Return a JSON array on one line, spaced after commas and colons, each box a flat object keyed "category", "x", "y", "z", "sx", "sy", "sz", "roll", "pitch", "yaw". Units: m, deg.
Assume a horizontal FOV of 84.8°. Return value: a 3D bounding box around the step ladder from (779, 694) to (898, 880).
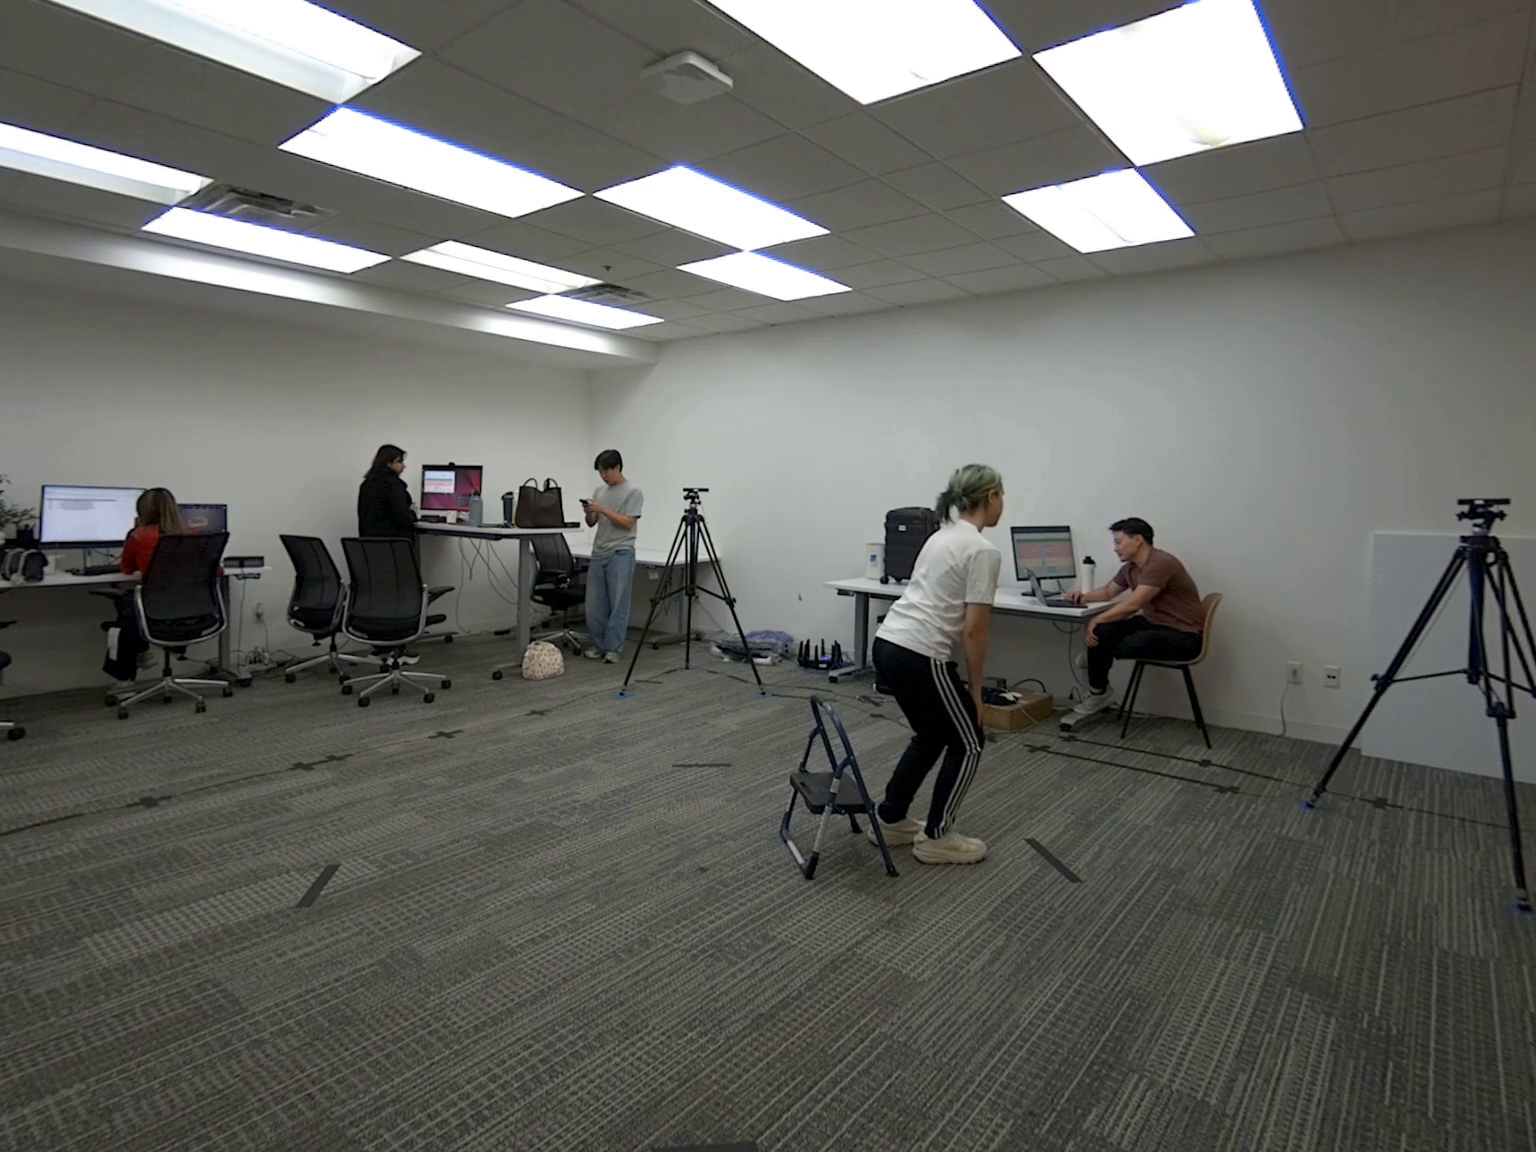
[{"category": "step ladder", "x": 0.262, "y": 0.765, "z": 3.253, "sx": 0.345, "sy": 0.604, "sz": 0.437, "roll": 1, "pitch": 3, "yaw": -12}]
